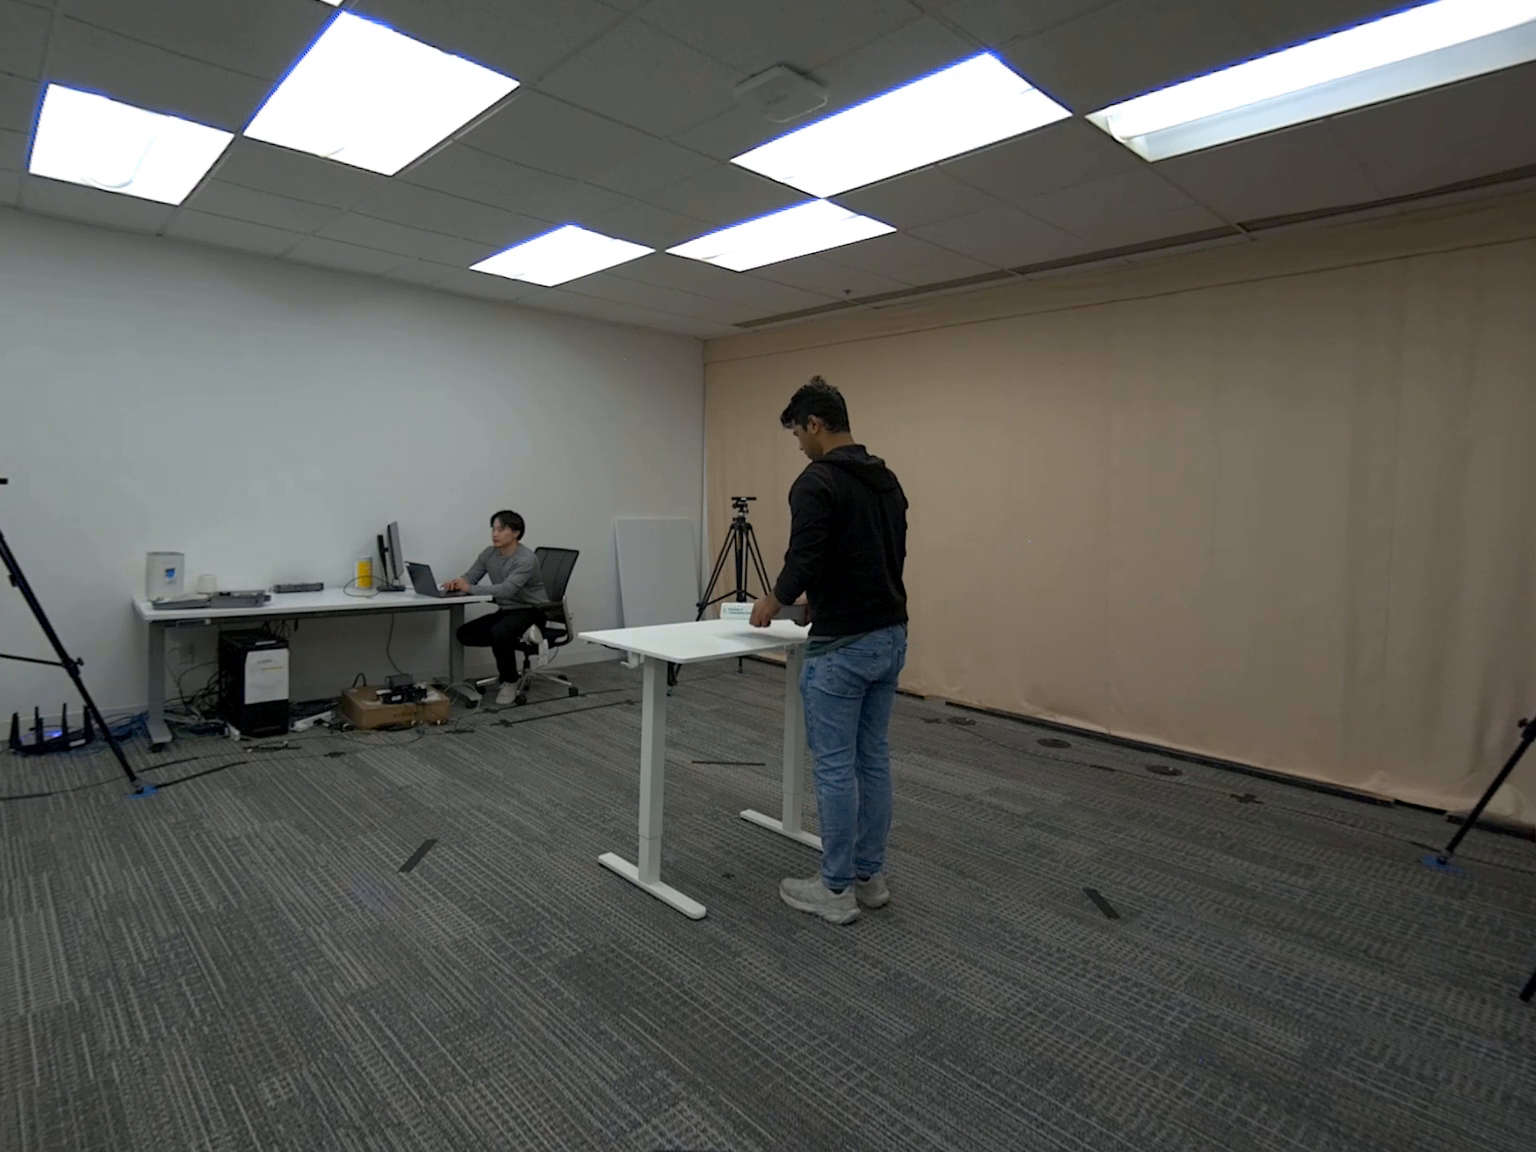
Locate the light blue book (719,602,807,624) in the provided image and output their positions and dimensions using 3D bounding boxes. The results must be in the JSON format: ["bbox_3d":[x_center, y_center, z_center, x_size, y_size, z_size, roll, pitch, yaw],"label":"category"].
[{"bbox_3d":[-0.023,0.132,3.106,0.187,0.059,0.267,0,1,-42],"label":"light blue book"}]
